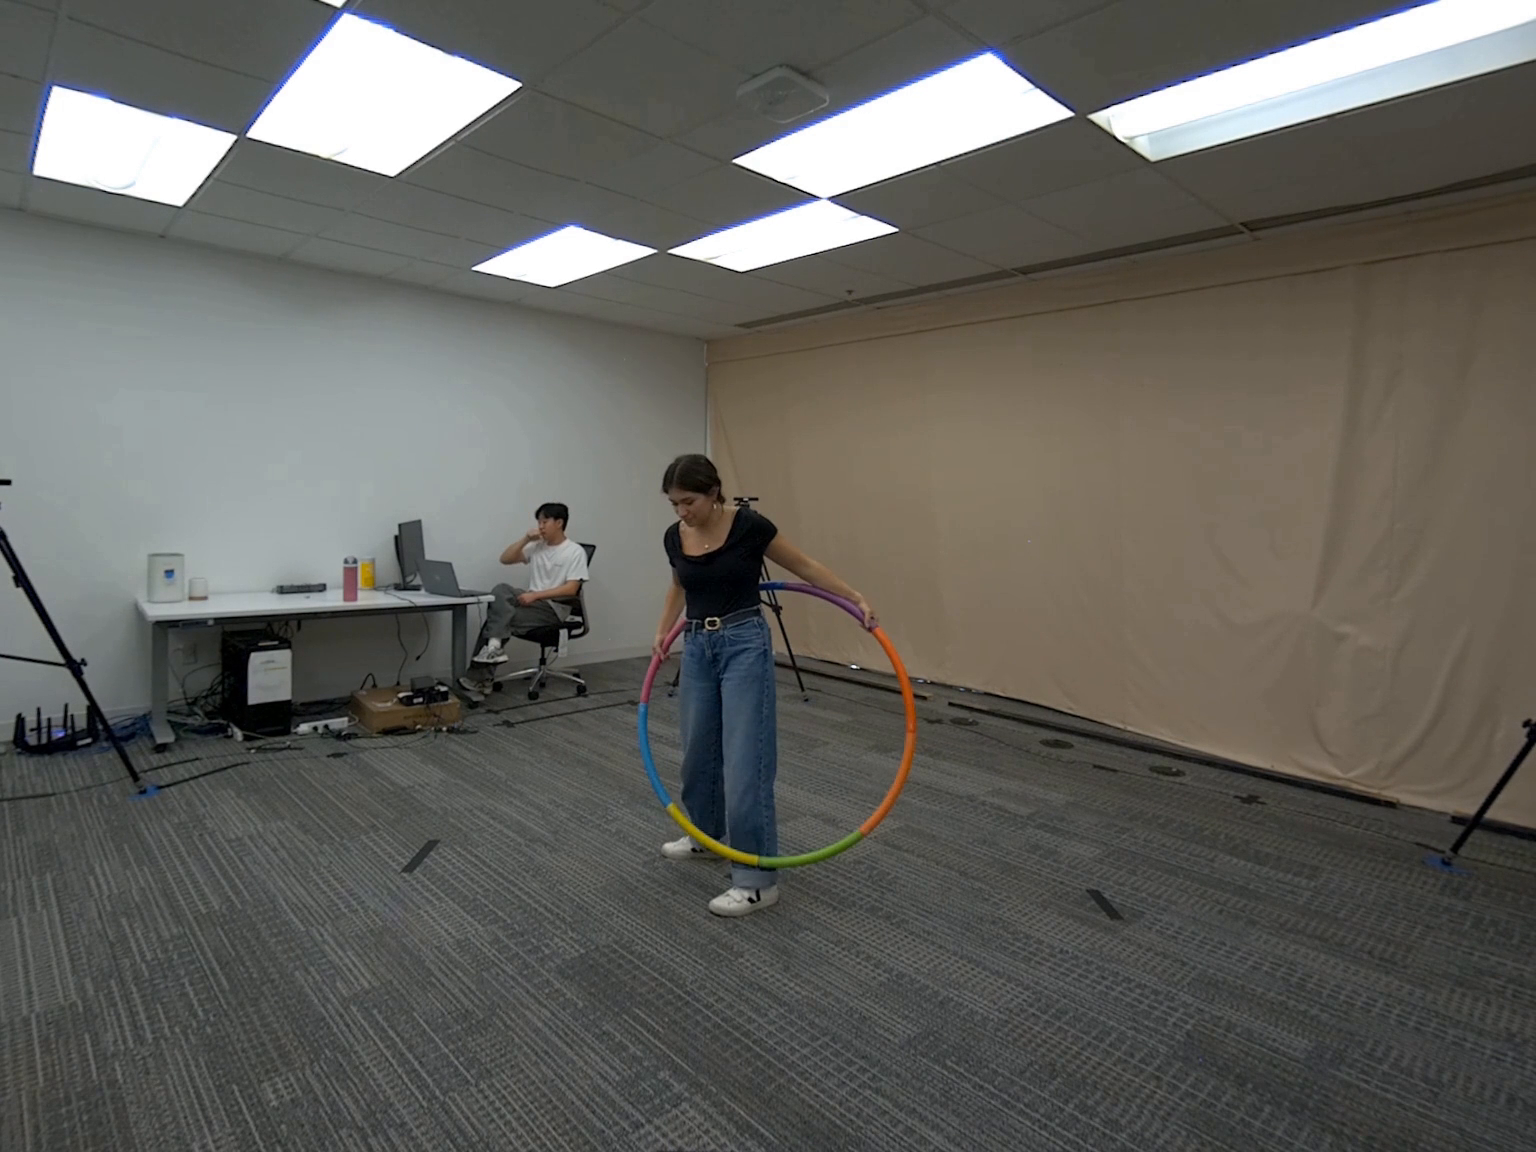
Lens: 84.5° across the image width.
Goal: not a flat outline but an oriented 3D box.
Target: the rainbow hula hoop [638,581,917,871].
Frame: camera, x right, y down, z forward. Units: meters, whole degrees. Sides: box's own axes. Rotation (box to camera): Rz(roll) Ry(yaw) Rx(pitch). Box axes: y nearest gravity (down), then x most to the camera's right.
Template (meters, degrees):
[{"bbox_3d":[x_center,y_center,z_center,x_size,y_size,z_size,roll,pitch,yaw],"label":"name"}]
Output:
[{"bbox_3d":[-0.001,0.477,2.921,0.991,0.988,0.035,2,-16,15],"label":"rainbow hula hoop"}]
